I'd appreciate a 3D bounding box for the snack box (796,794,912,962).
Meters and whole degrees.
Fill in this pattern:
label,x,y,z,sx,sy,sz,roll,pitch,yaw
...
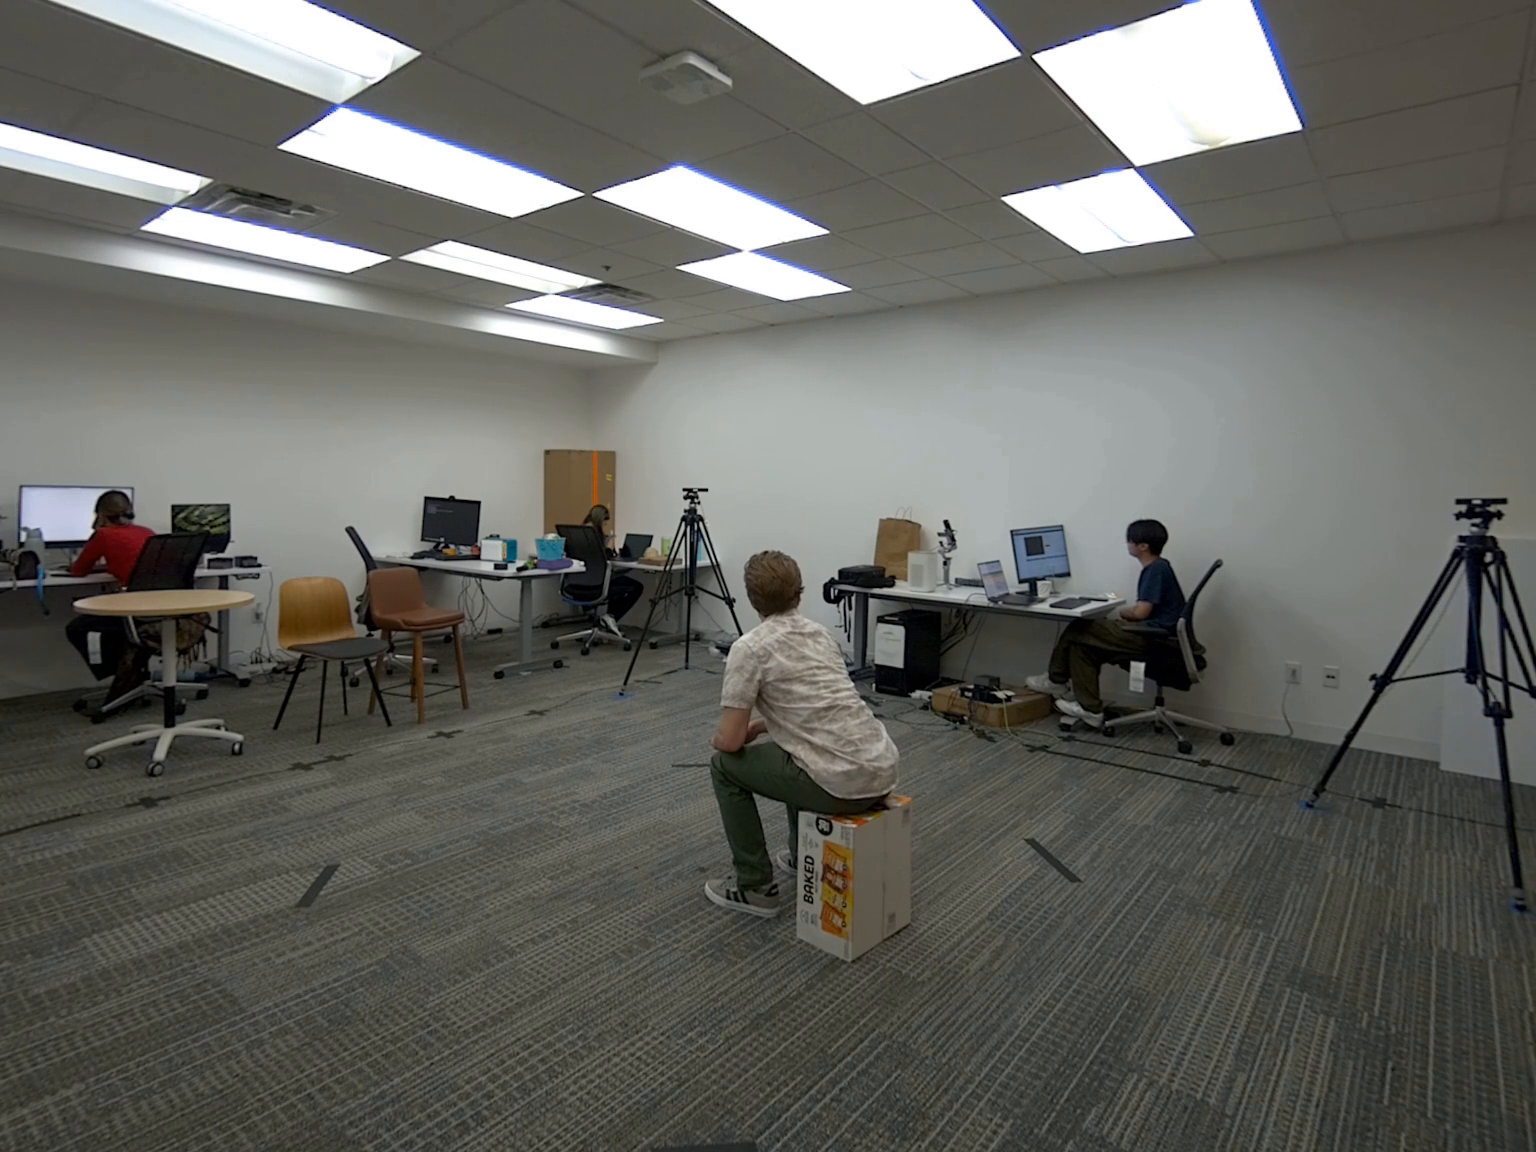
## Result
label,x,y,z,sx,sy,sz,roll,pitch,yaw
snack box,0.275,0.921,2.690,0.212,0.404,0.330,2,3,42
